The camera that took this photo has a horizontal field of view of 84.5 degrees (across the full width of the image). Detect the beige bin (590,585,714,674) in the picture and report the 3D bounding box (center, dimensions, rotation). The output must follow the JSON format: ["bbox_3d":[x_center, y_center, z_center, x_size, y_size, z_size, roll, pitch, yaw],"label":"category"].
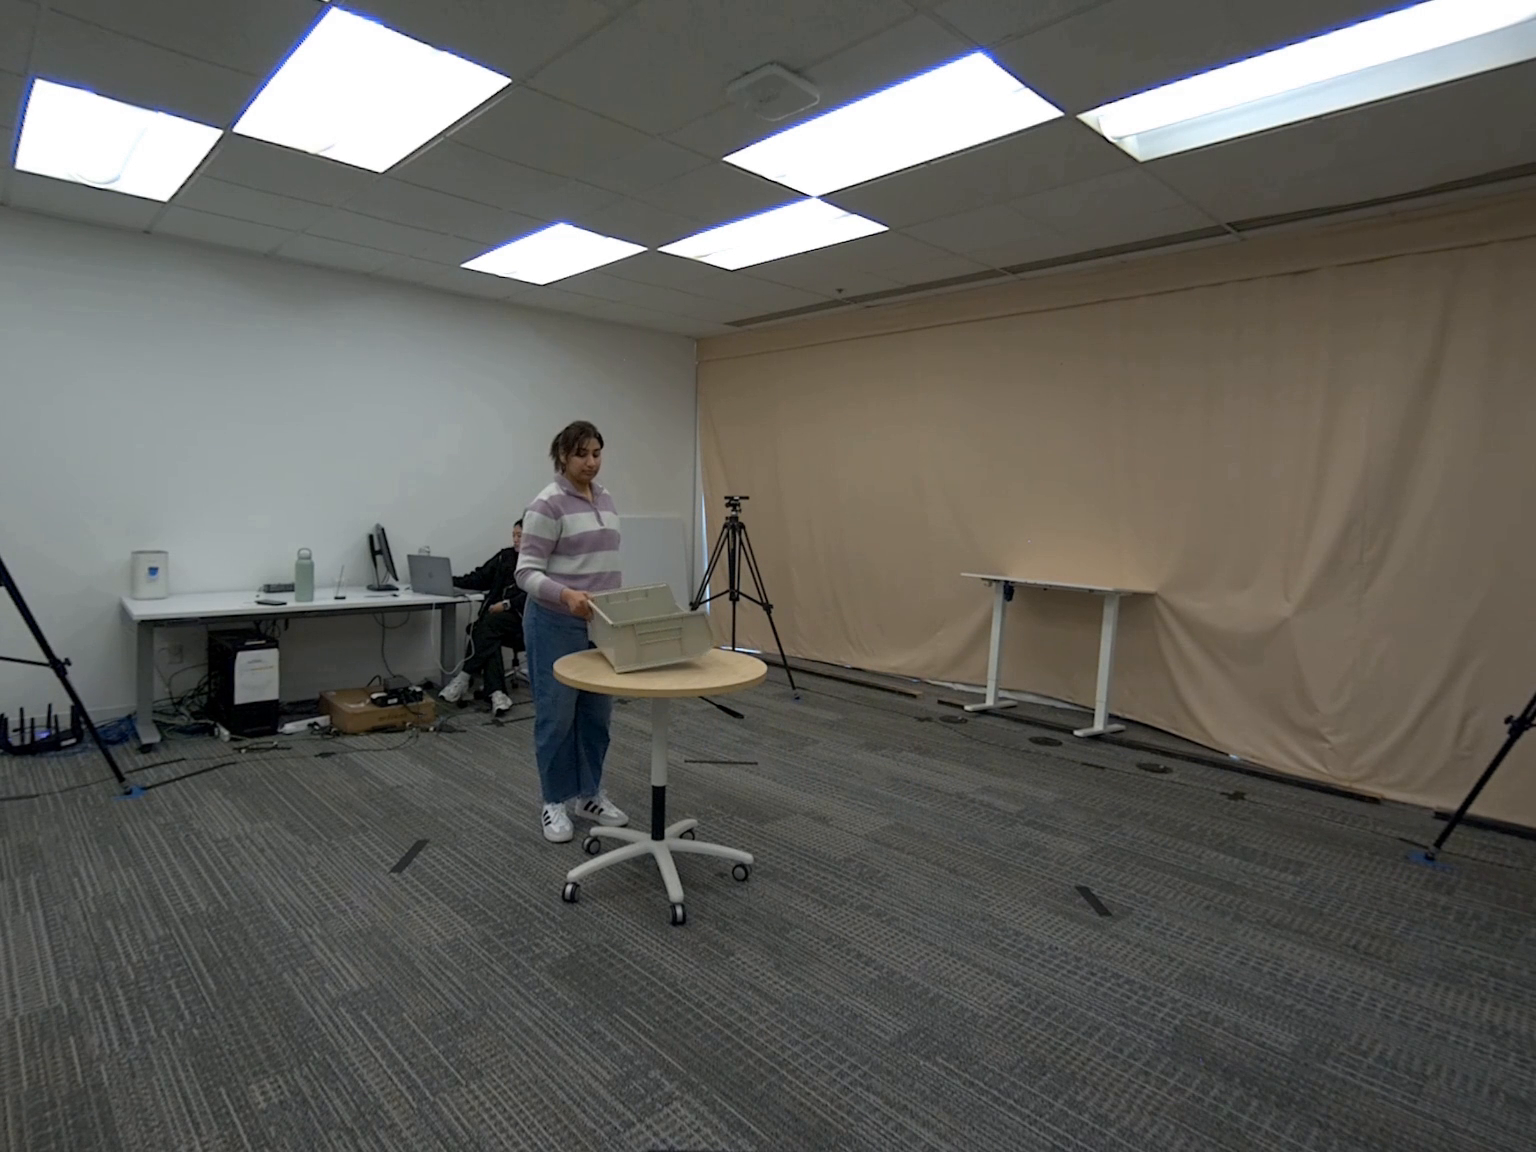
[{"bbox_3d":[-0.452,0.178,3.080,0.372,0.187,0.433,-9,16,-23],"label":"beige bin"}]
